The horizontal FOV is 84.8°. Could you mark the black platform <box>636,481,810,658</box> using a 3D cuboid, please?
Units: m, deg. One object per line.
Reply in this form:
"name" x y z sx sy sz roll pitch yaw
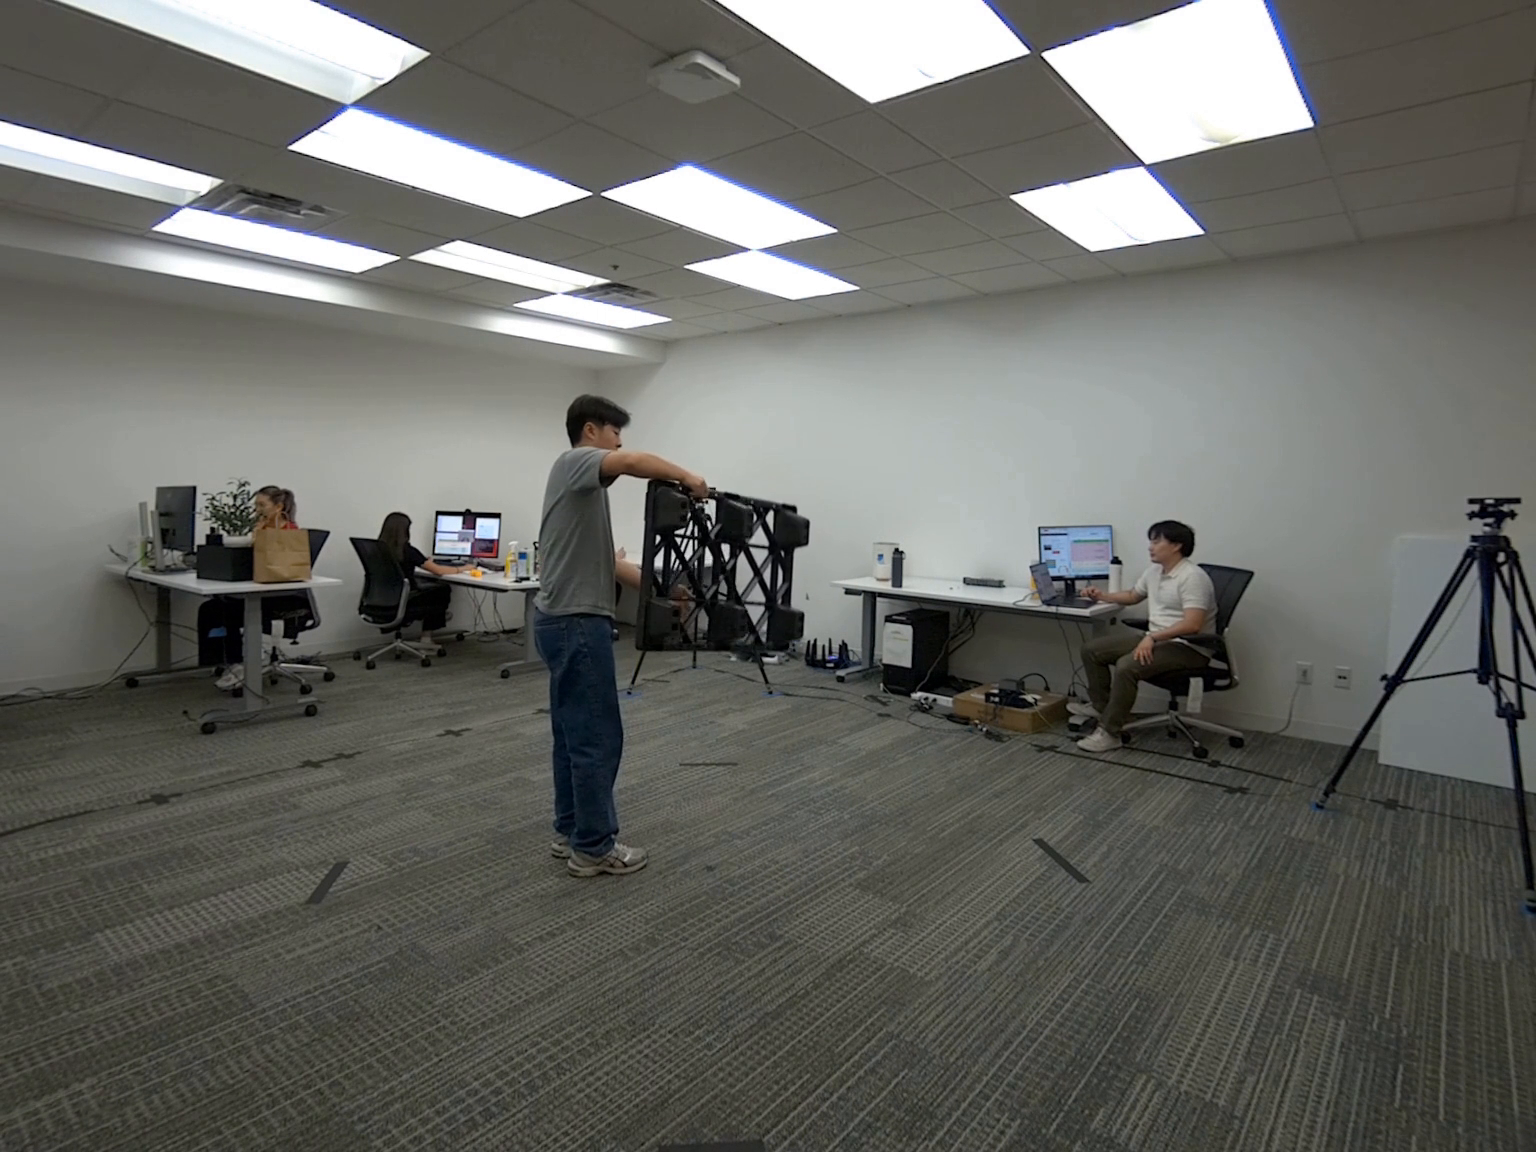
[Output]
"black platform" -0.152 -0.011 3.178 0.148 0.607 0.777 1 -4 43
